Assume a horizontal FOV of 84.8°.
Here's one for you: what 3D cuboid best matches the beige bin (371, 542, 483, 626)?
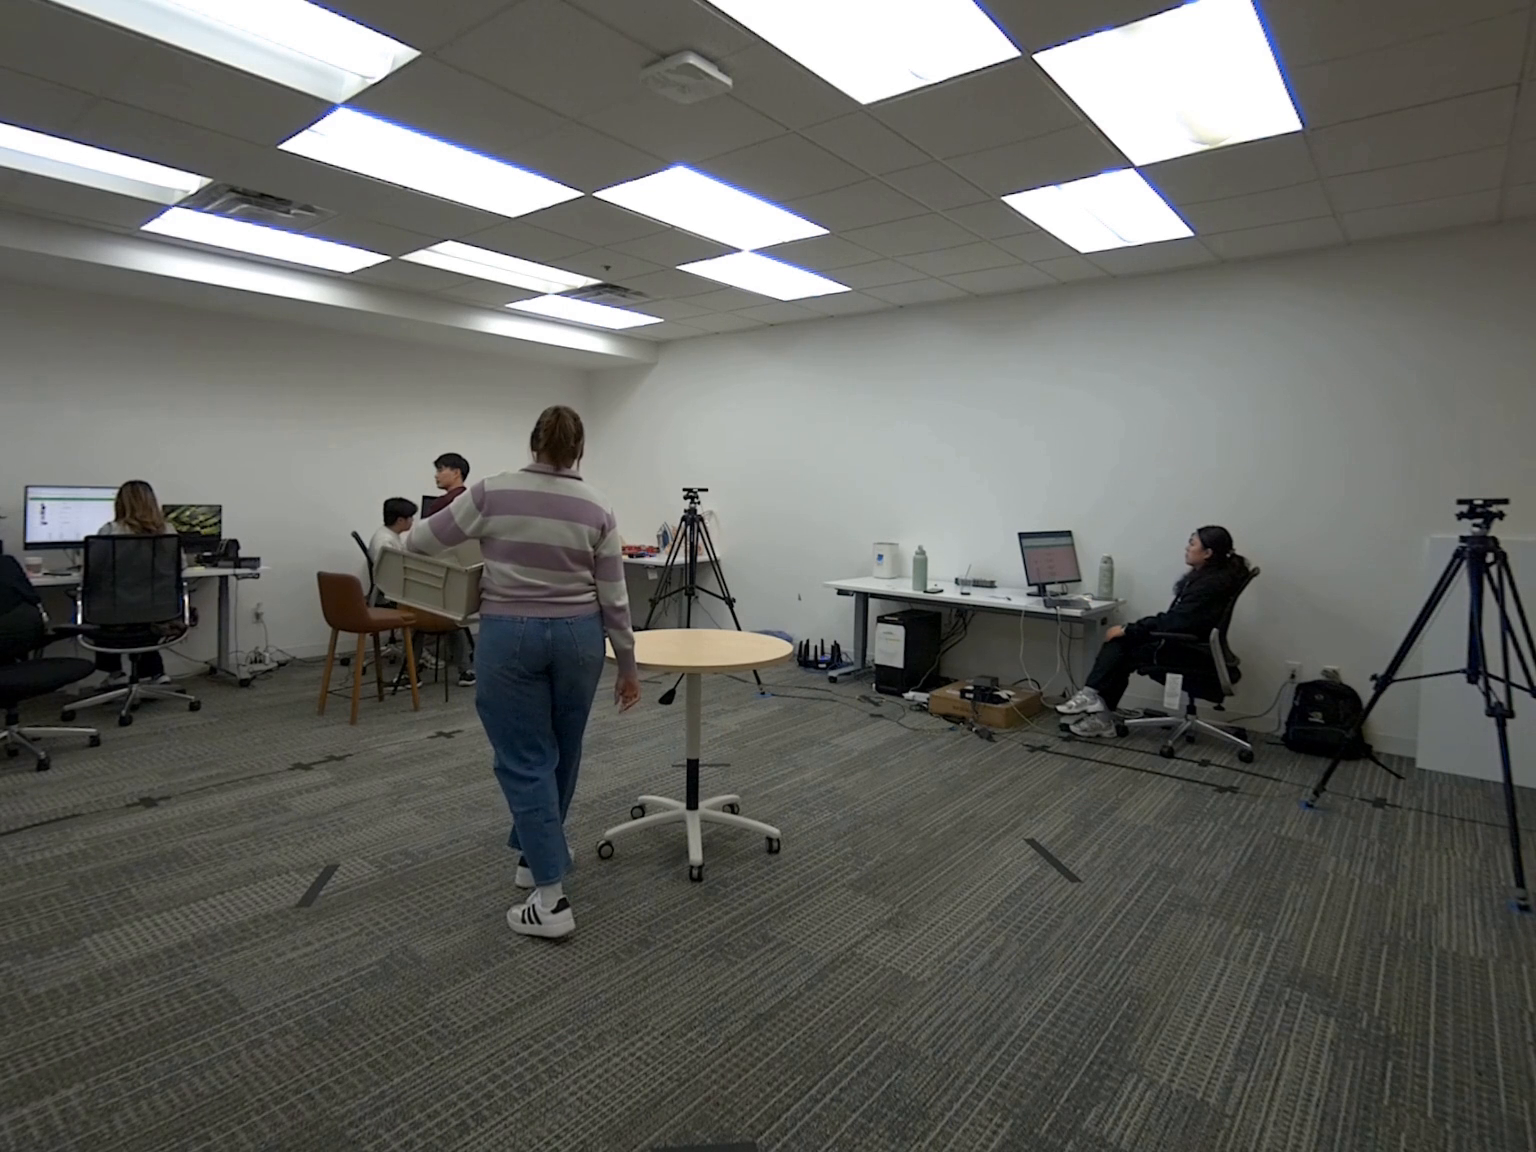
[{"bbox_3d":[-1.068,-0.024,2.915,0.386,0.187,0.417,14,15,17],"label":"beige bin"}]
